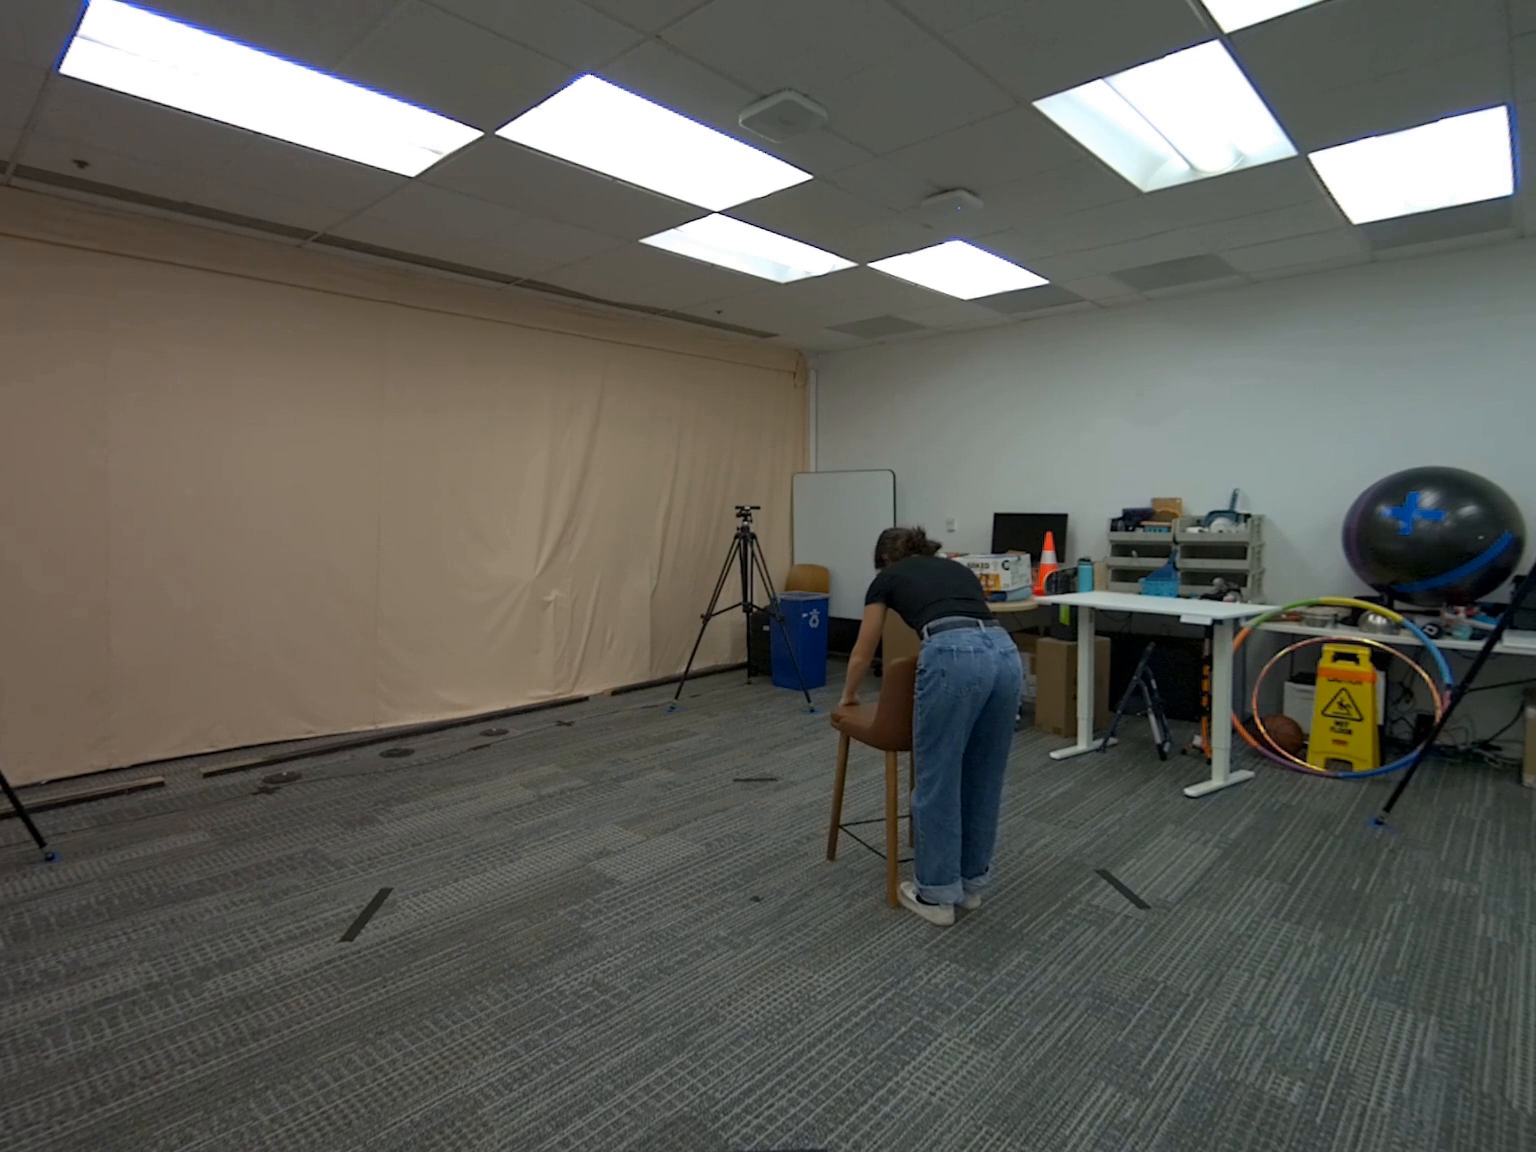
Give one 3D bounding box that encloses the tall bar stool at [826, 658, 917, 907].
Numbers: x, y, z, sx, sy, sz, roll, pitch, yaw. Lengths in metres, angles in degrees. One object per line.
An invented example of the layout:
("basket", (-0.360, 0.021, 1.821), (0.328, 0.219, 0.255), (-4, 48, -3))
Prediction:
("tall bar stool", (0.512, 0.690, 3.155), (0.447, 0.887, 0.479), (-1, 5, -23))
